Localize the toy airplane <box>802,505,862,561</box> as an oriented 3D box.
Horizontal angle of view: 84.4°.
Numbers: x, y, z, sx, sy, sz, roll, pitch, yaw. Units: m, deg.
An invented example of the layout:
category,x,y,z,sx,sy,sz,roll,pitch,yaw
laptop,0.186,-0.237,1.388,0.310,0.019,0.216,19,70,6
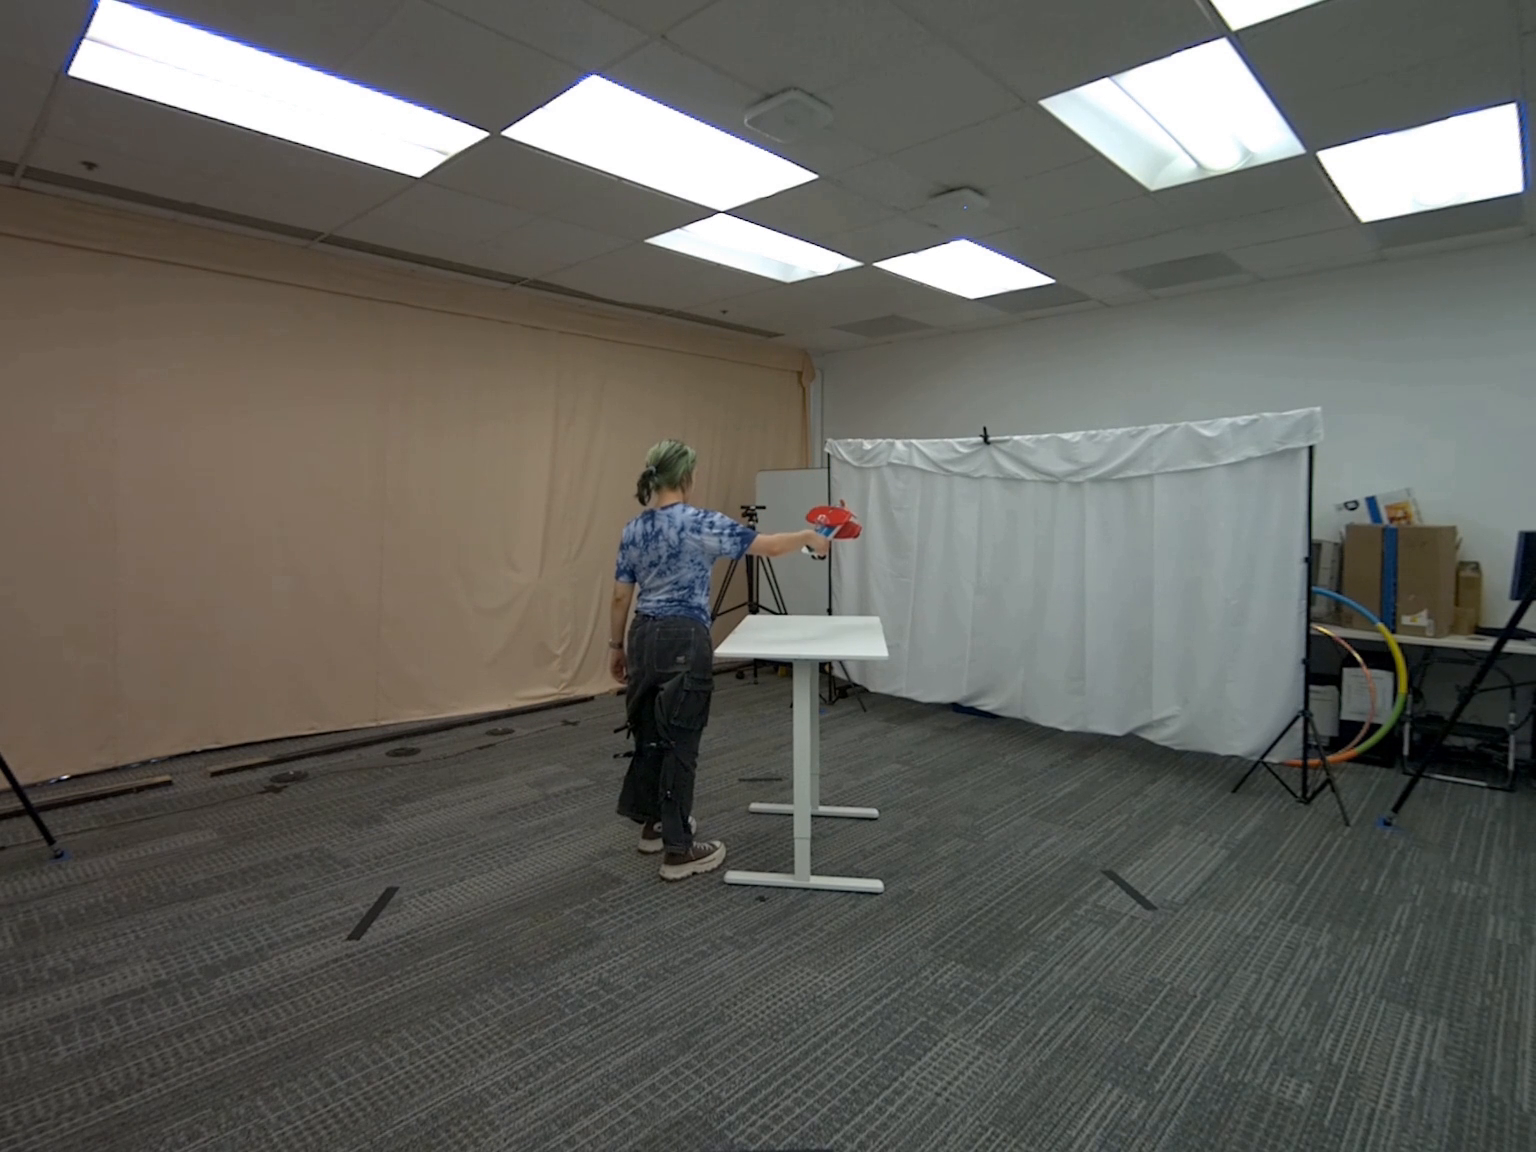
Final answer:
category,x,y,z,sx,sy,sz,roll,pitch,yaw
toy airplane,0.262,-0.178,3.449,0.258,0.153,0.258,-8,29,33
